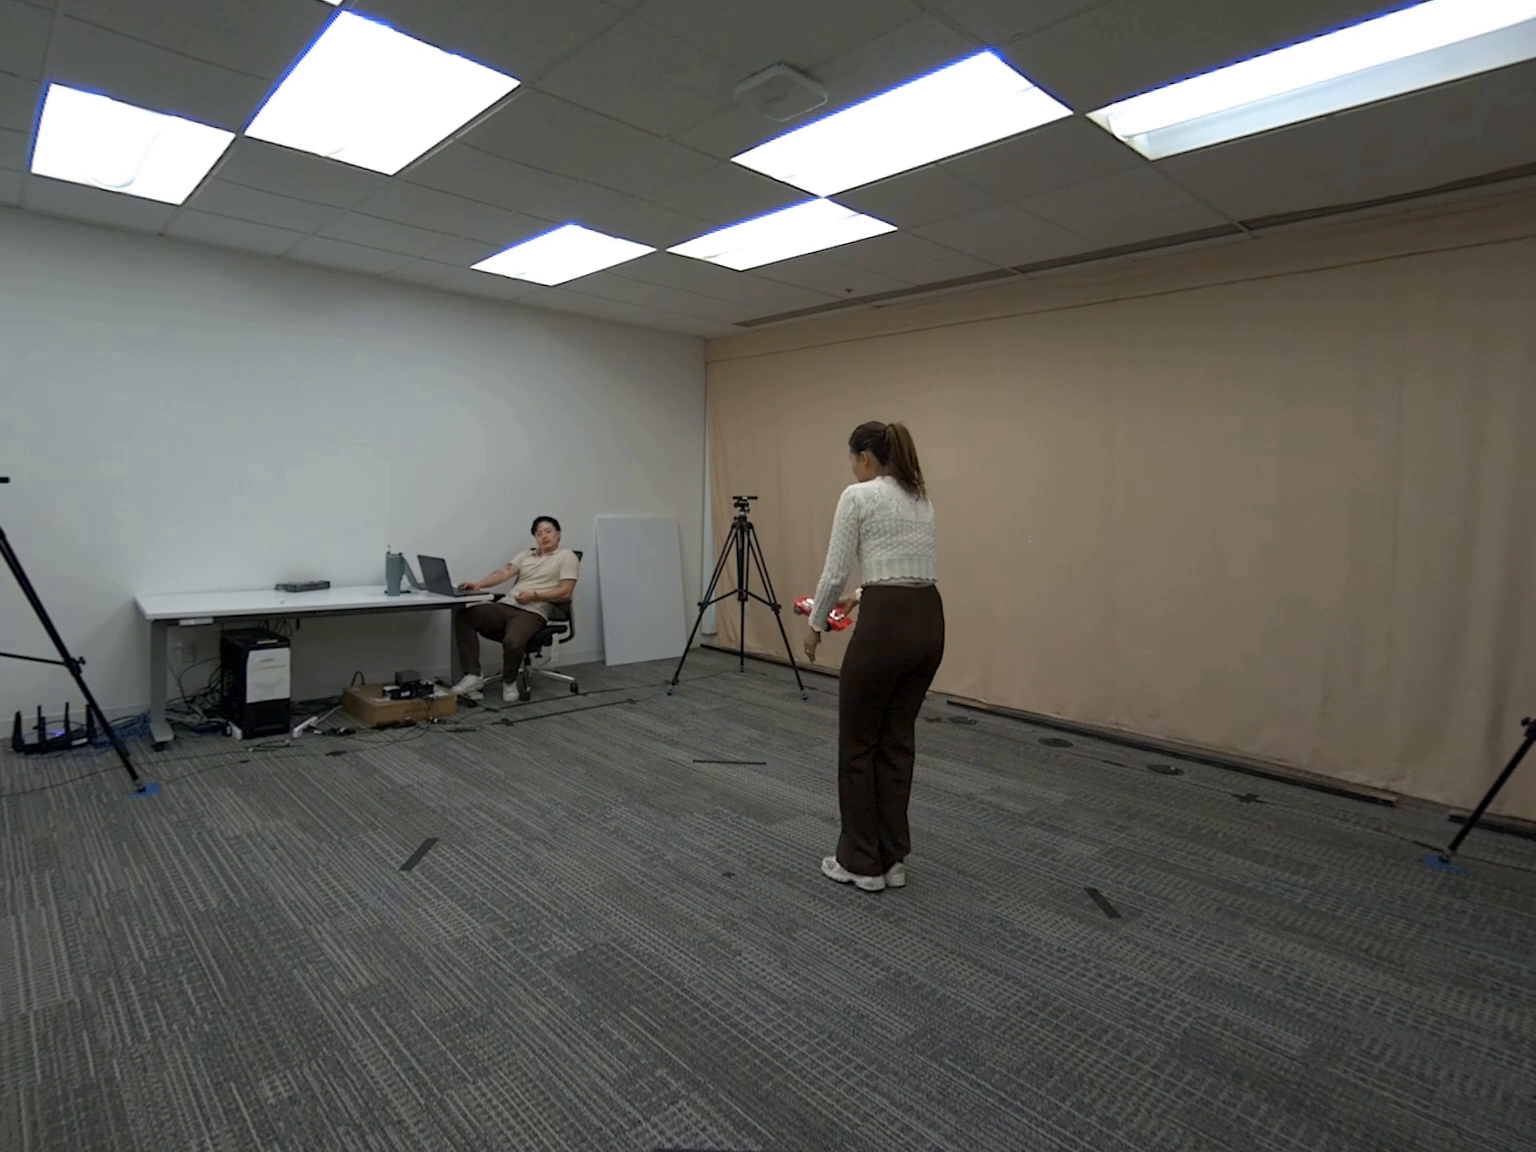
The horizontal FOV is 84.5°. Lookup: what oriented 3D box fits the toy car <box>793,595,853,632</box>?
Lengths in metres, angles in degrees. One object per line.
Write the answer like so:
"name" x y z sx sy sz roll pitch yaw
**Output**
"toy car" 0.220 0.164 3.504 0.261 0.082 0.128 18 25 32
